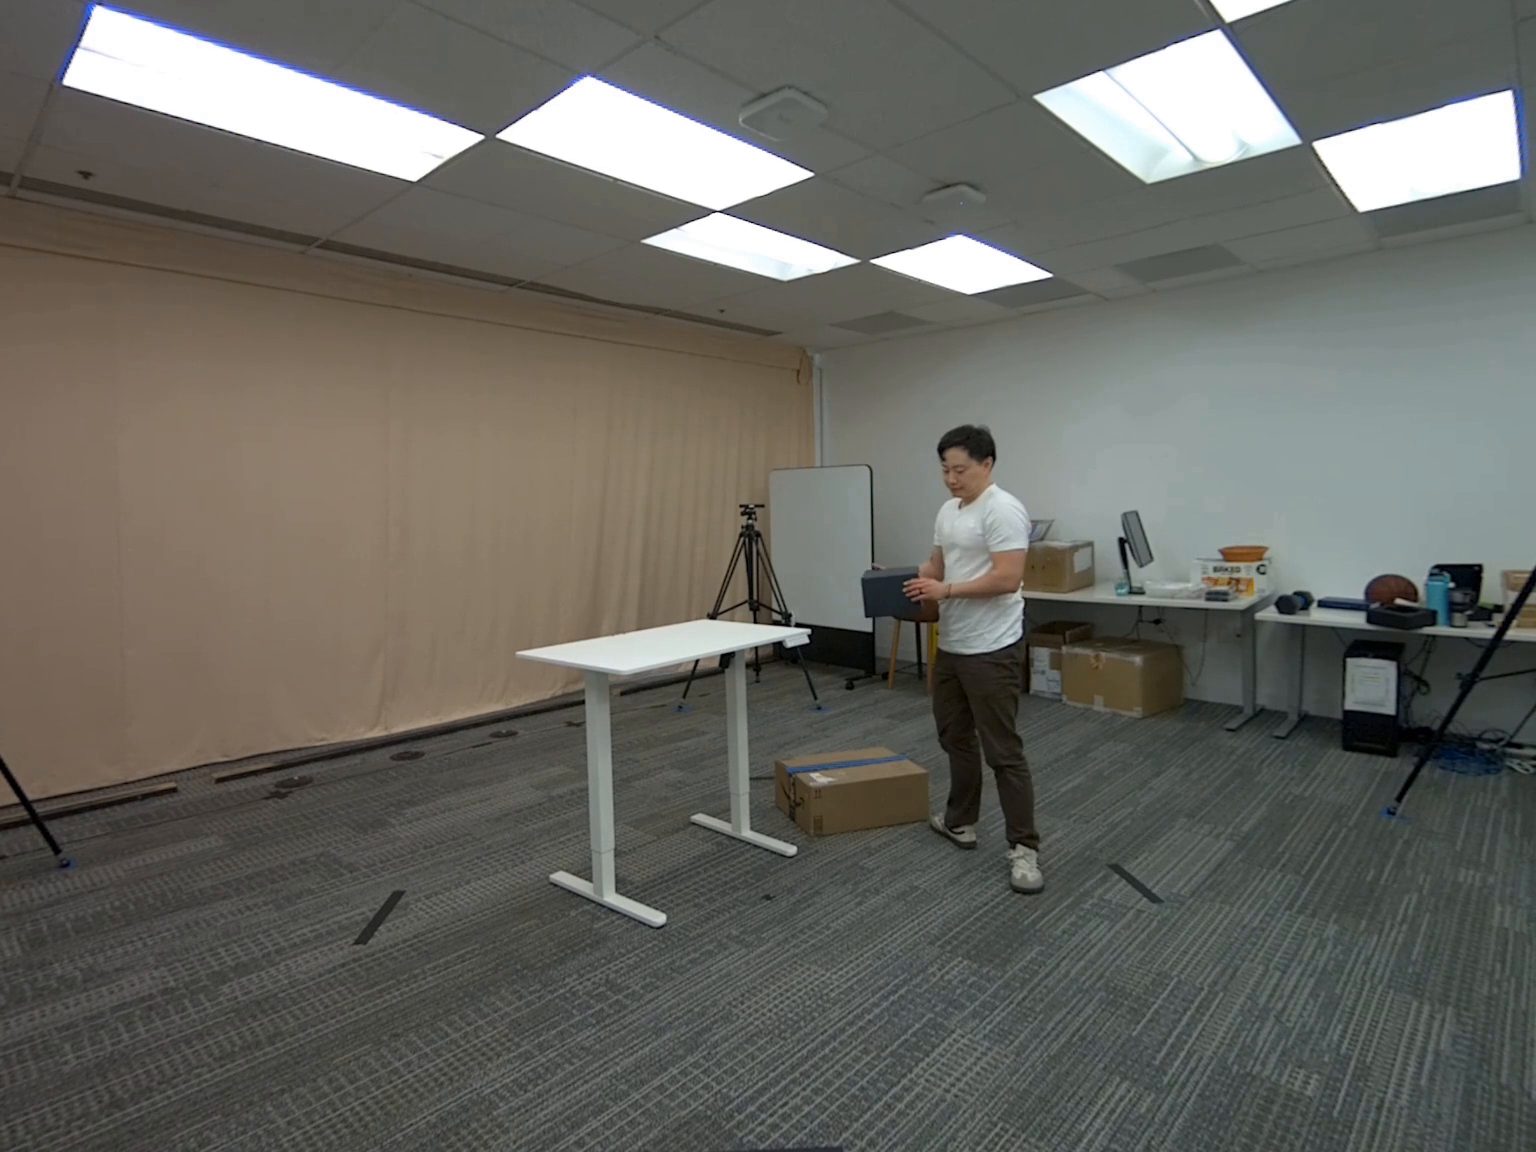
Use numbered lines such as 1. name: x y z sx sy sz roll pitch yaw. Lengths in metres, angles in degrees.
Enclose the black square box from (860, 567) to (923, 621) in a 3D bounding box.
1. black square box: 0.496 0.059 3.286 0.220 0.155 0.226 -5 7 12
